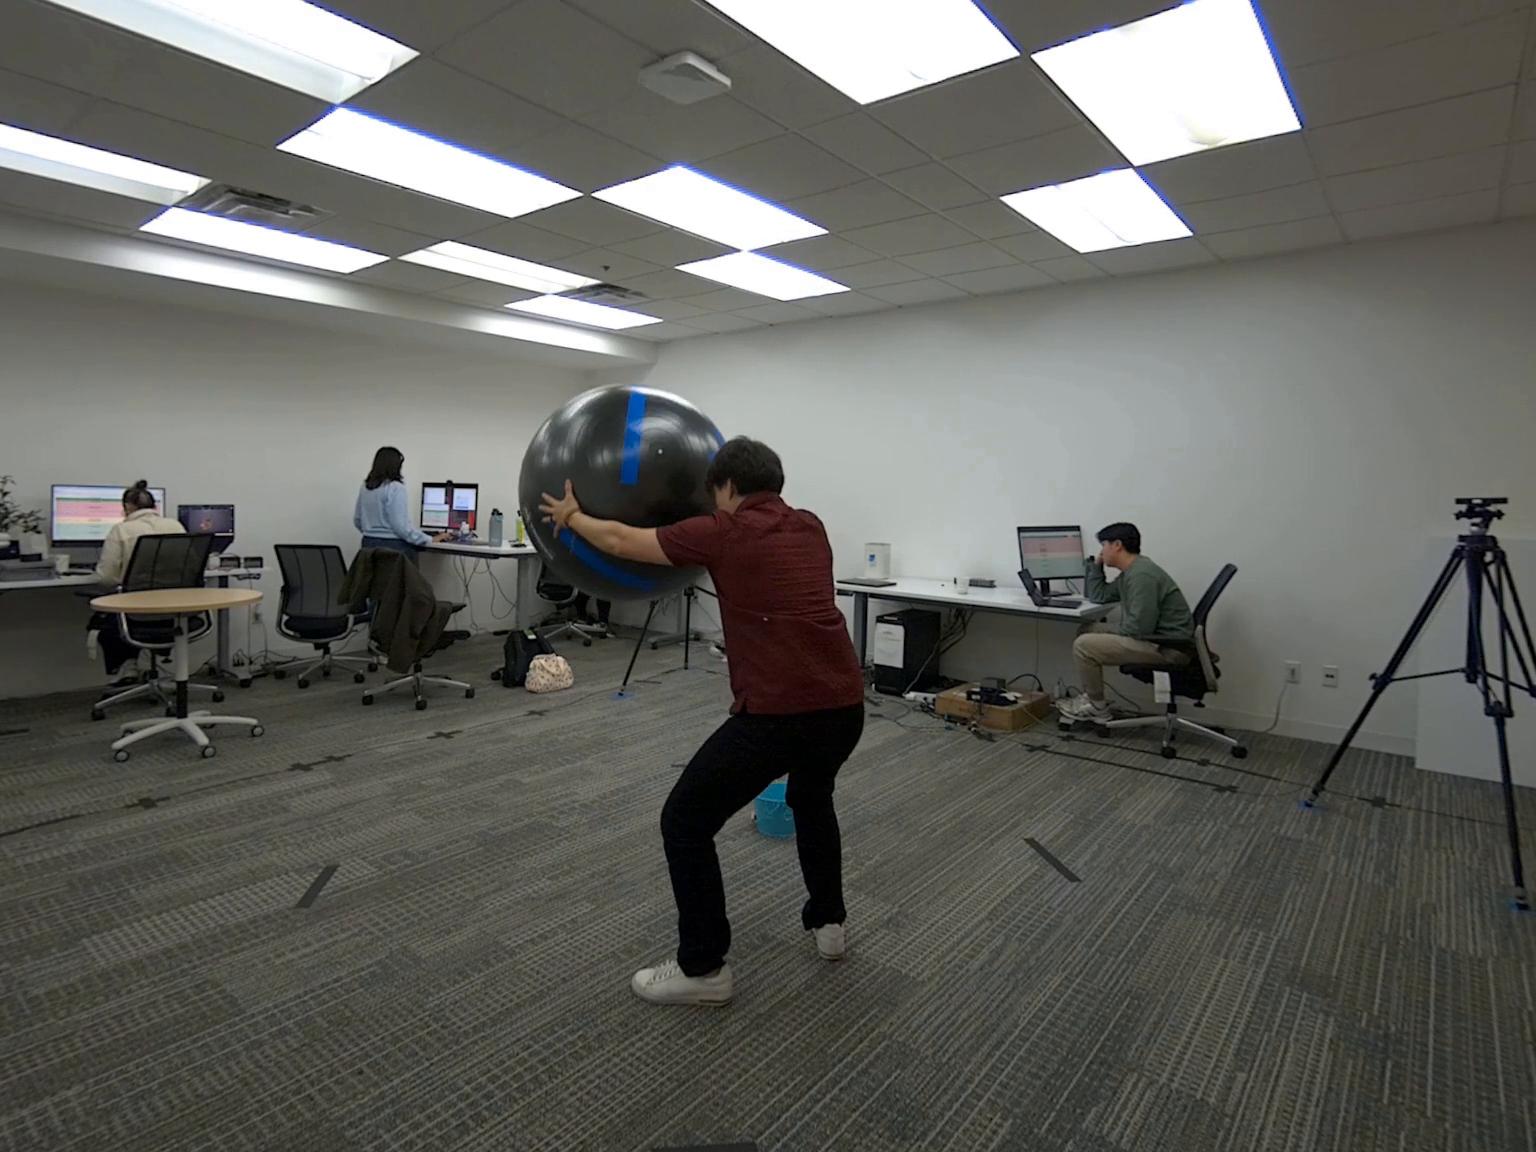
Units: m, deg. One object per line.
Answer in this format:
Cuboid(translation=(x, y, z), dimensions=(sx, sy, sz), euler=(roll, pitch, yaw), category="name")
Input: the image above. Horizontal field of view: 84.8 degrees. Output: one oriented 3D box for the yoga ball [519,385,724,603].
Cuboid(translation=(-0.487, -0.282, 2.966), dimensions=(0.757, 0.756, 0.762), euler=(1, 4, -2), category="yoga ball")
